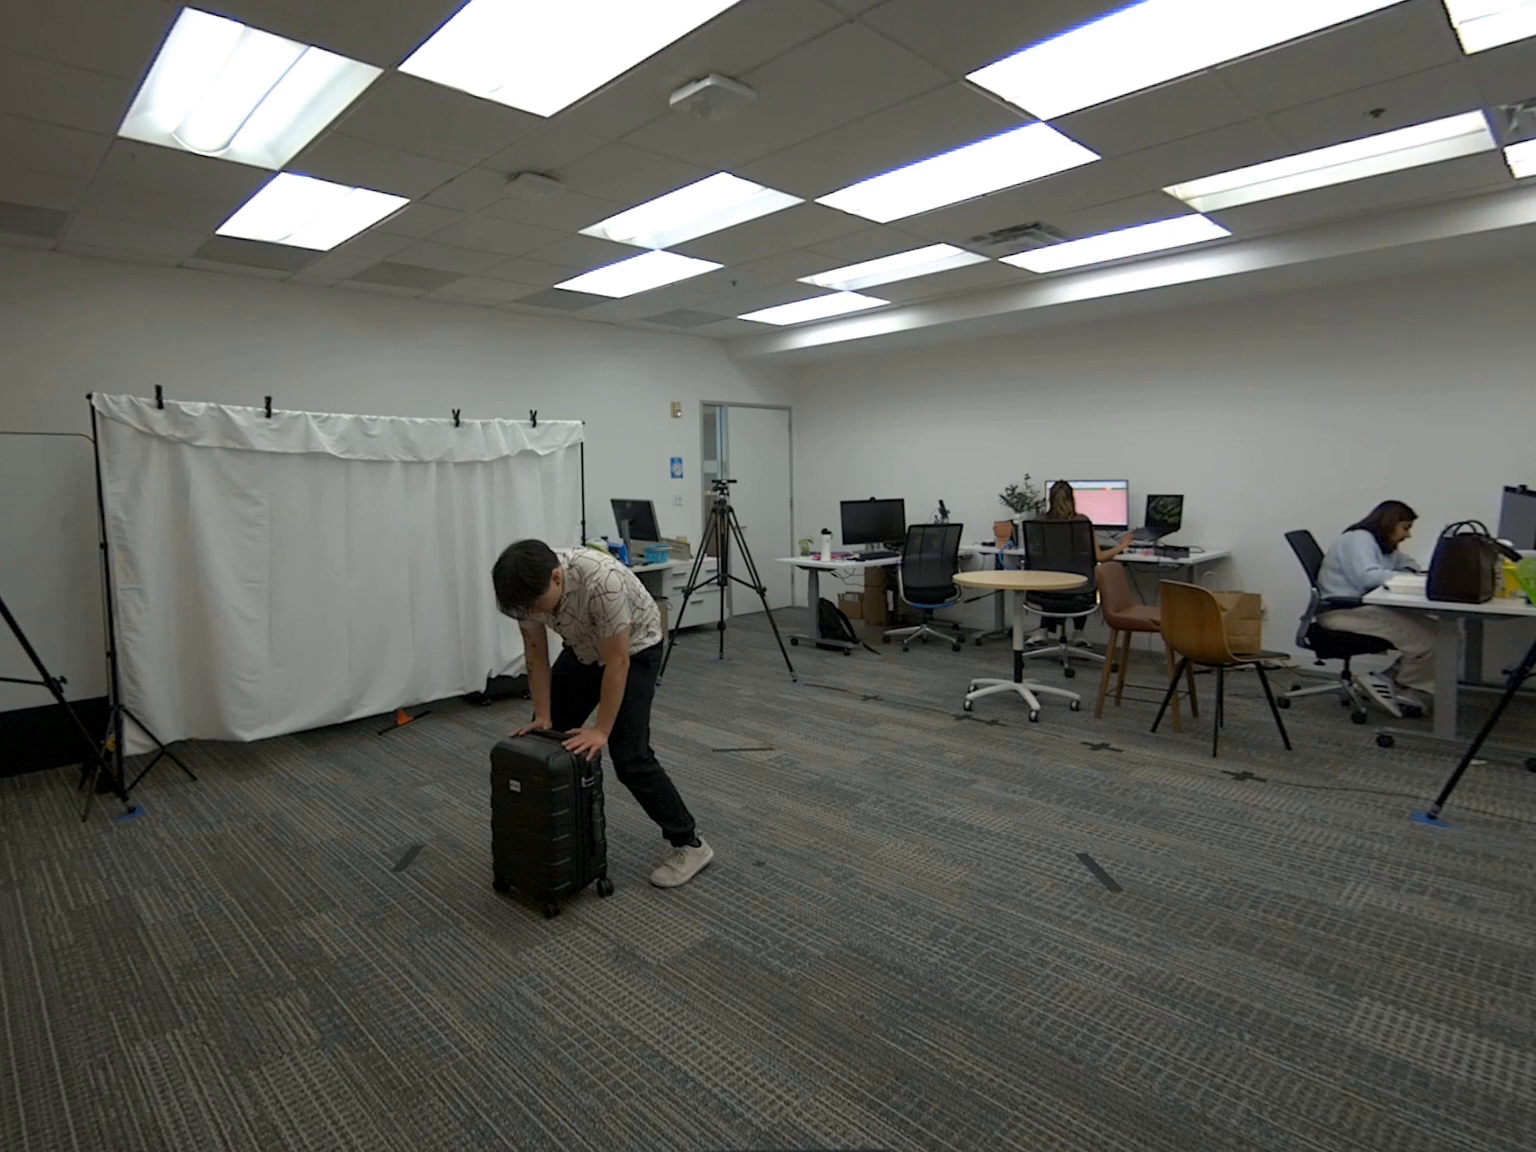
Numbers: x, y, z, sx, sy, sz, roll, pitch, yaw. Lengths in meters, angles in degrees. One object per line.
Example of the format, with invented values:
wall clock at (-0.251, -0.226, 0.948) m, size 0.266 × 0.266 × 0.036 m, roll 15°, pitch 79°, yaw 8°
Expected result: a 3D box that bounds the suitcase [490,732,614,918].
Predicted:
suitcase at (-0.741, 0.817, 2.898) m, size 0.386 × 0.546 × 0.242 m, roll 3°, pitch 8°, yaw 38°
